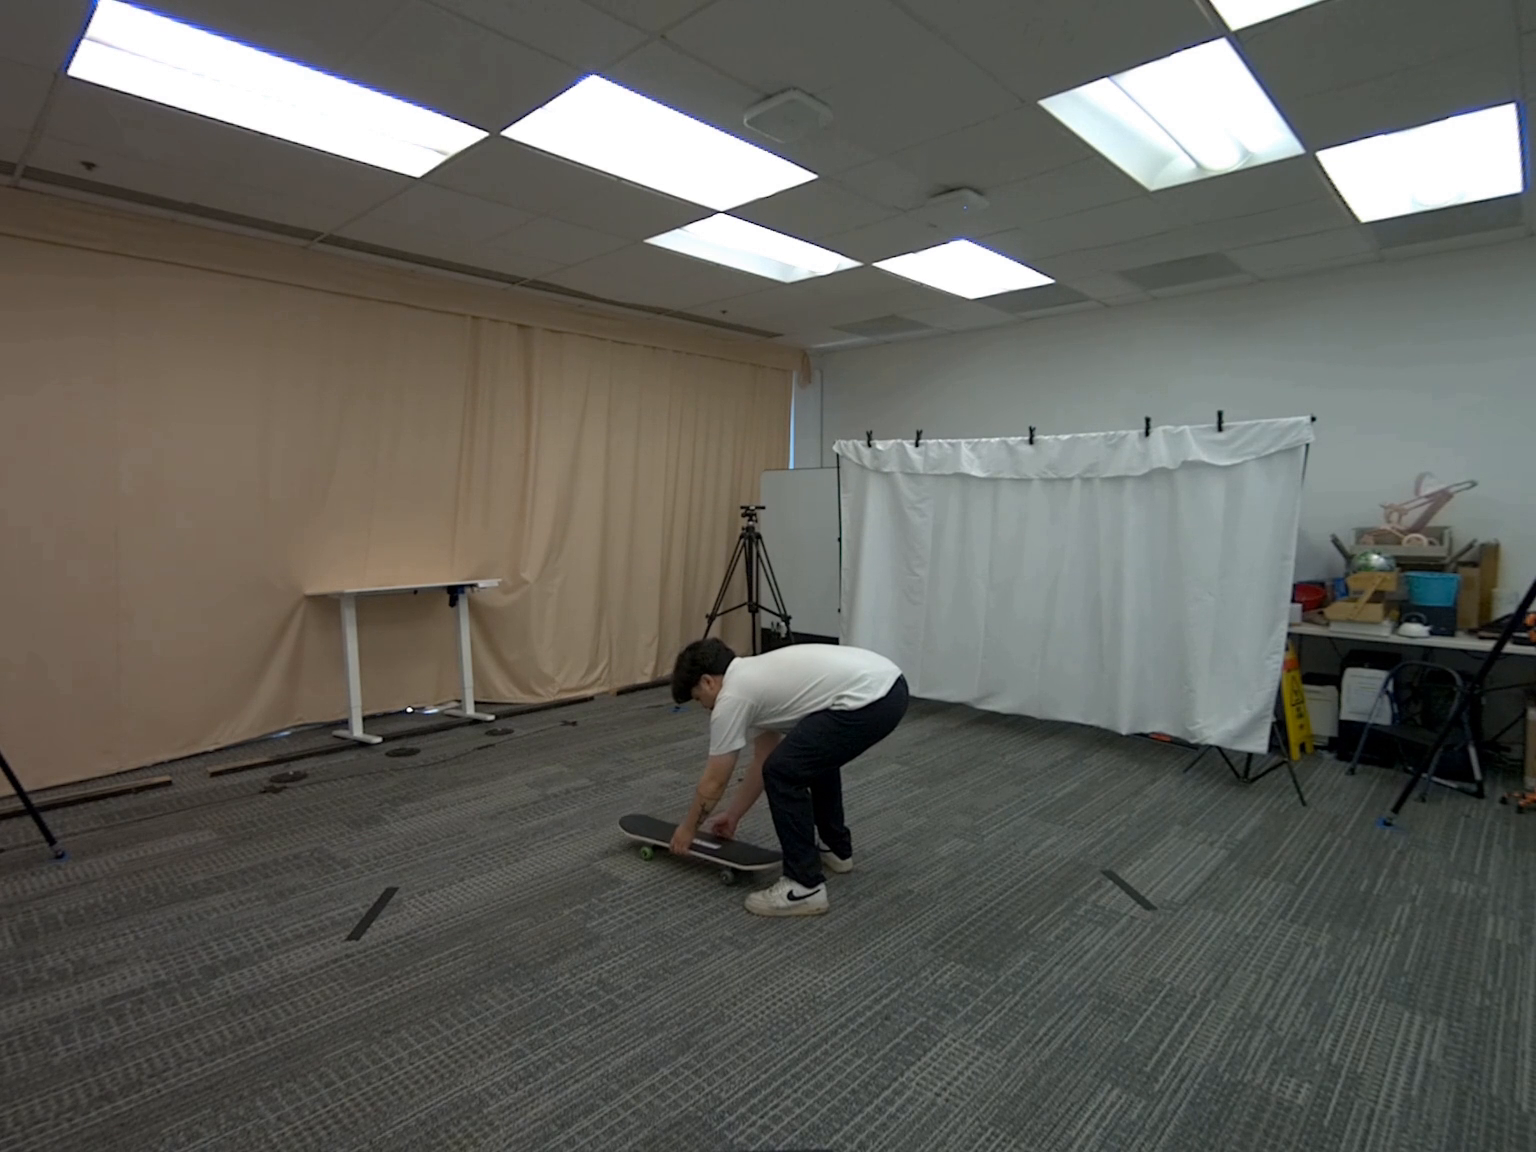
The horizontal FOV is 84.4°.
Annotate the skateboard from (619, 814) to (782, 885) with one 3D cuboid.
[{"bbox_3d":[-0.265,1.056,3.261,0.810,0.110,0.188,2,3,35],"label":"skateboard"}]
